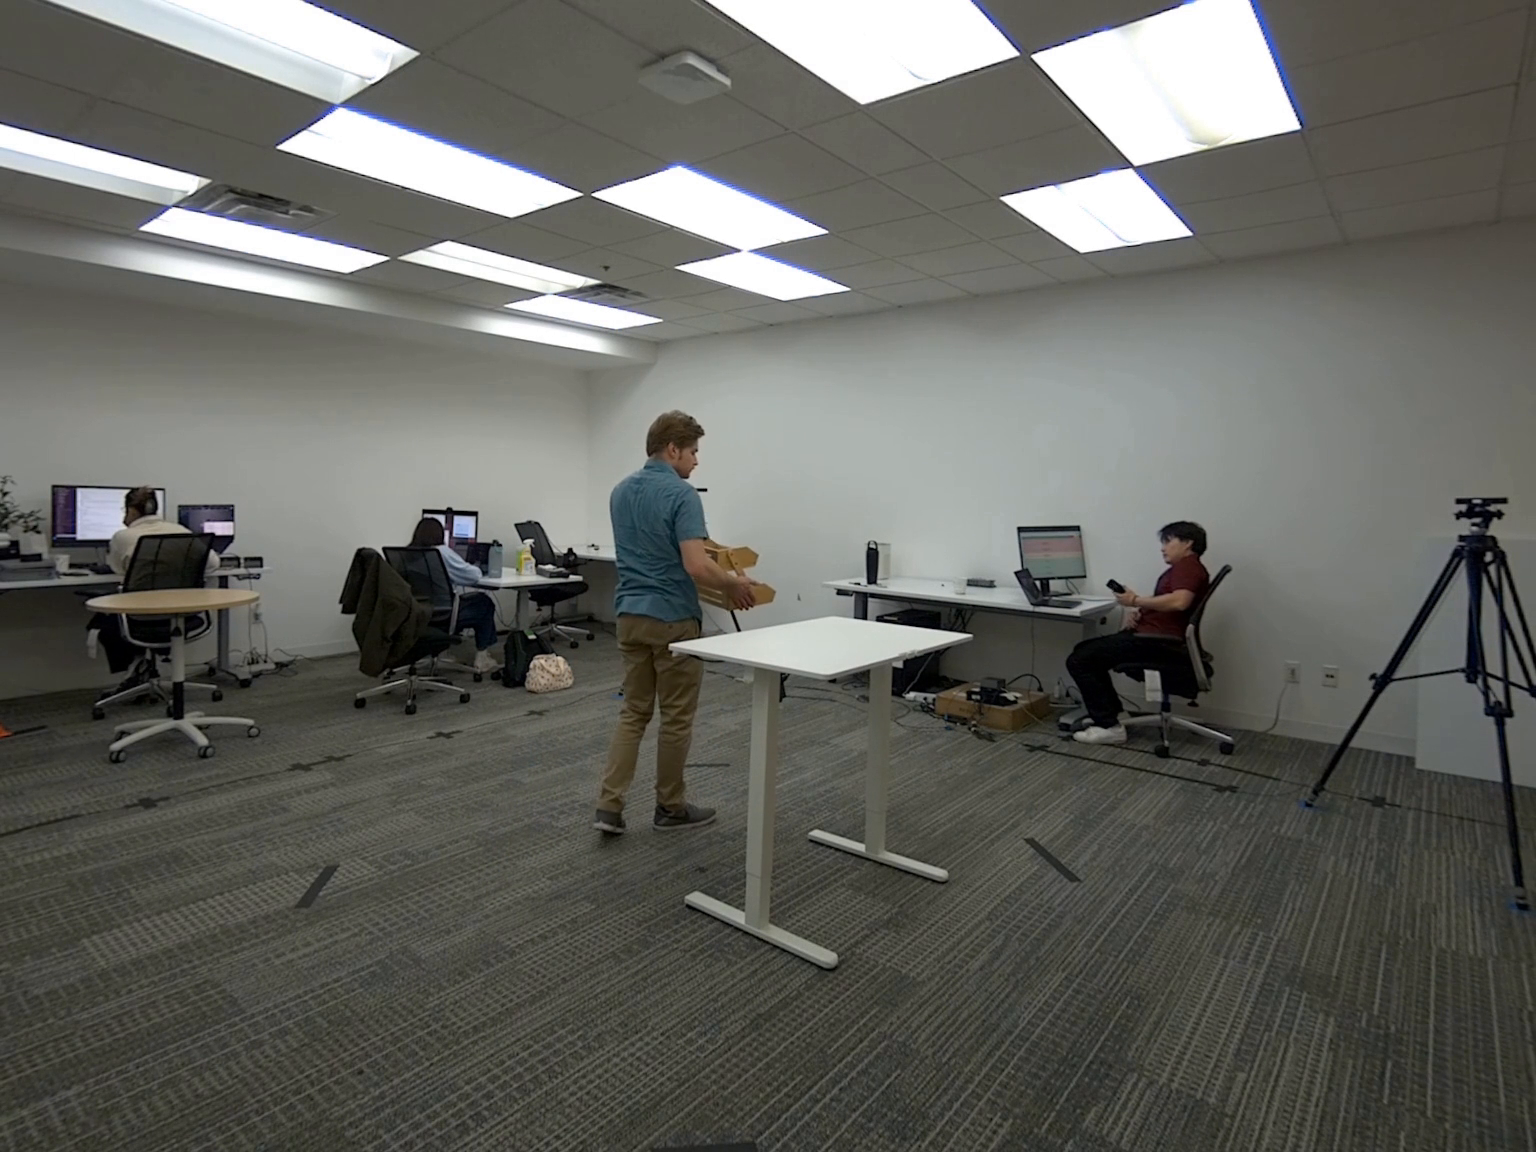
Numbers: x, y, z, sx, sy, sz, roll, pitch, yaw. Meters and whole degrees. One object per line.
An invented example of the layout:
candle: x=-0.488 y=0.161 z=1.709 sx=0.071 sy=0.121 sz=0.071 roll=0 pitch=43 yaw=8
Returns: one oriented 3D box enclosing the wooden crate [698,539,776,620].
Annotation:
wooden crate: x=-0.186 y=-0.026 z=3.647 sx=0.295 sy=0.270 sz=0.336 roll=-10 pitch=15 yaw=-34
